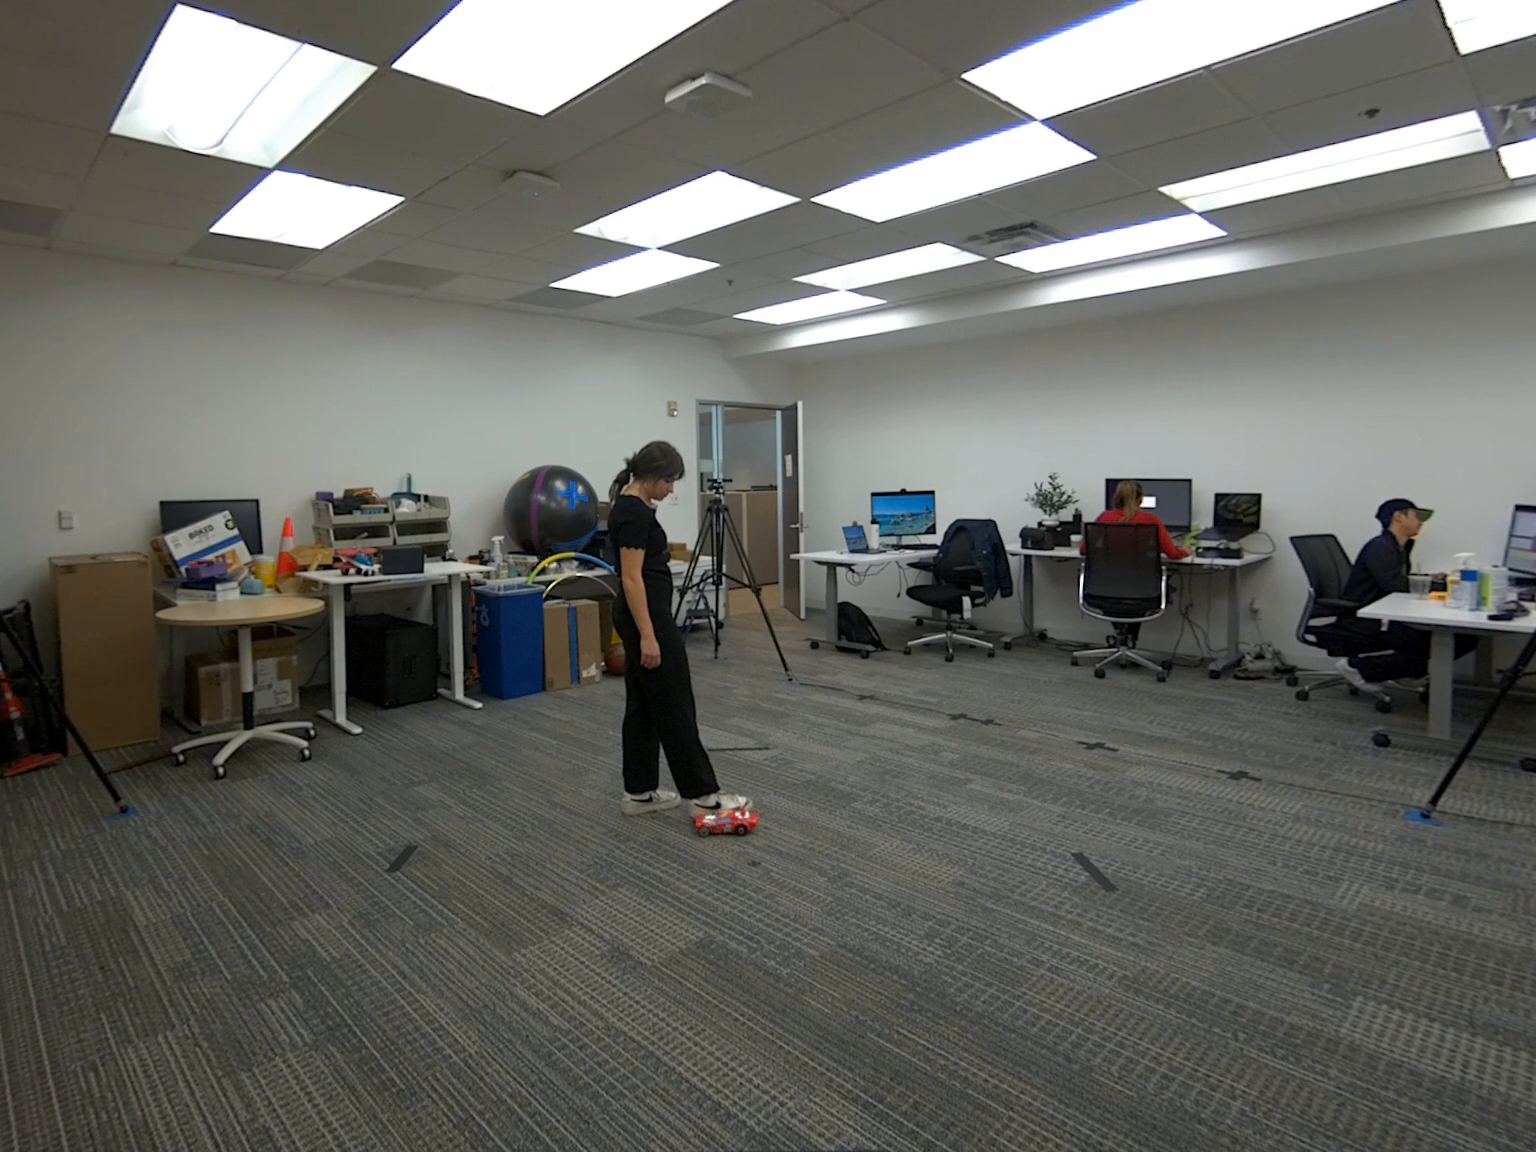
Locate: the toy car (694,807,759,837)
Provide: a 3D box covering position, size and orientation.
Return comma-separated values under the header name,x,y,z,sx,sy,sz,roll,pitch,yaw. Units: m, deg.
name,x,y,z,sx,sy,sz,roll,pitch,yaw
toy car,-0.159,0.982,3.394,0.254,0.083,0.131,-12,7,-2
